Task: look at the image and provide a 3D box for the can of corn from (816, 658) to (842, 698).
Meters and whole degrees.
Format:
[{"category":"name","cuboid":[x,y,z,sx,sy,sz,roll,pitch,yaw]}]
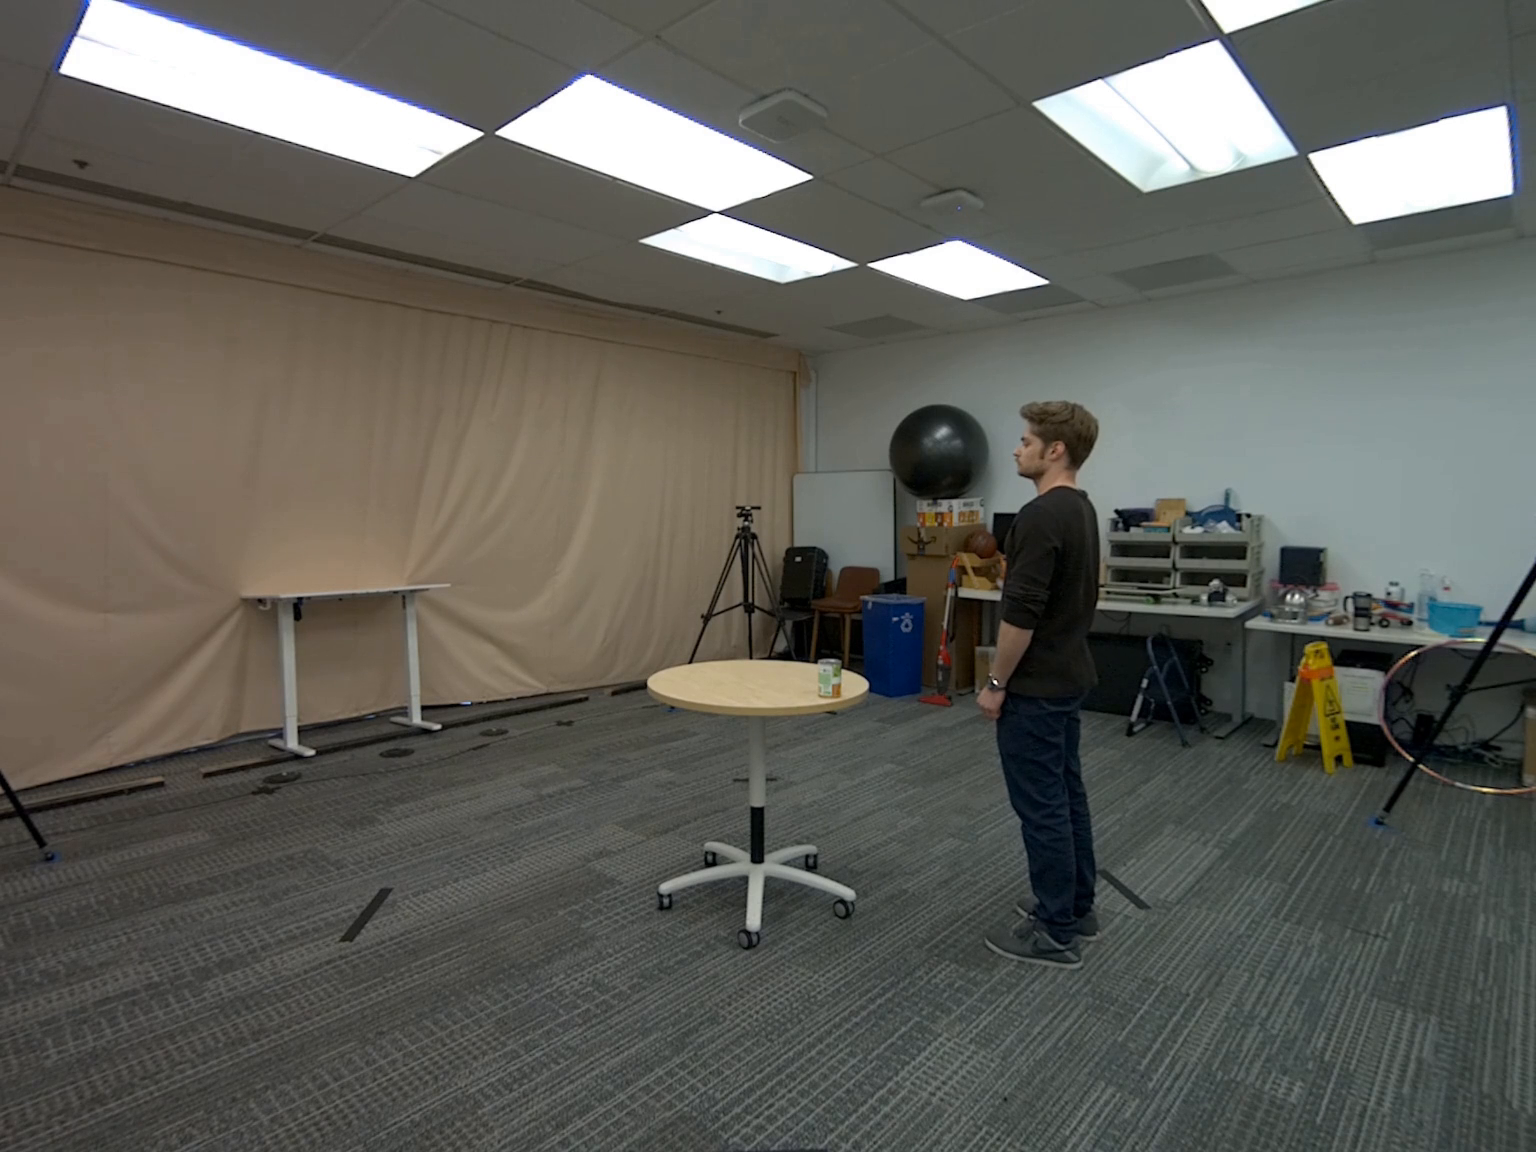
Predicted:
[{"category":"can of corn","cuboid":[0.208,0.334,2.690,0.074,0.111,0.074,2,3,-2]}]
